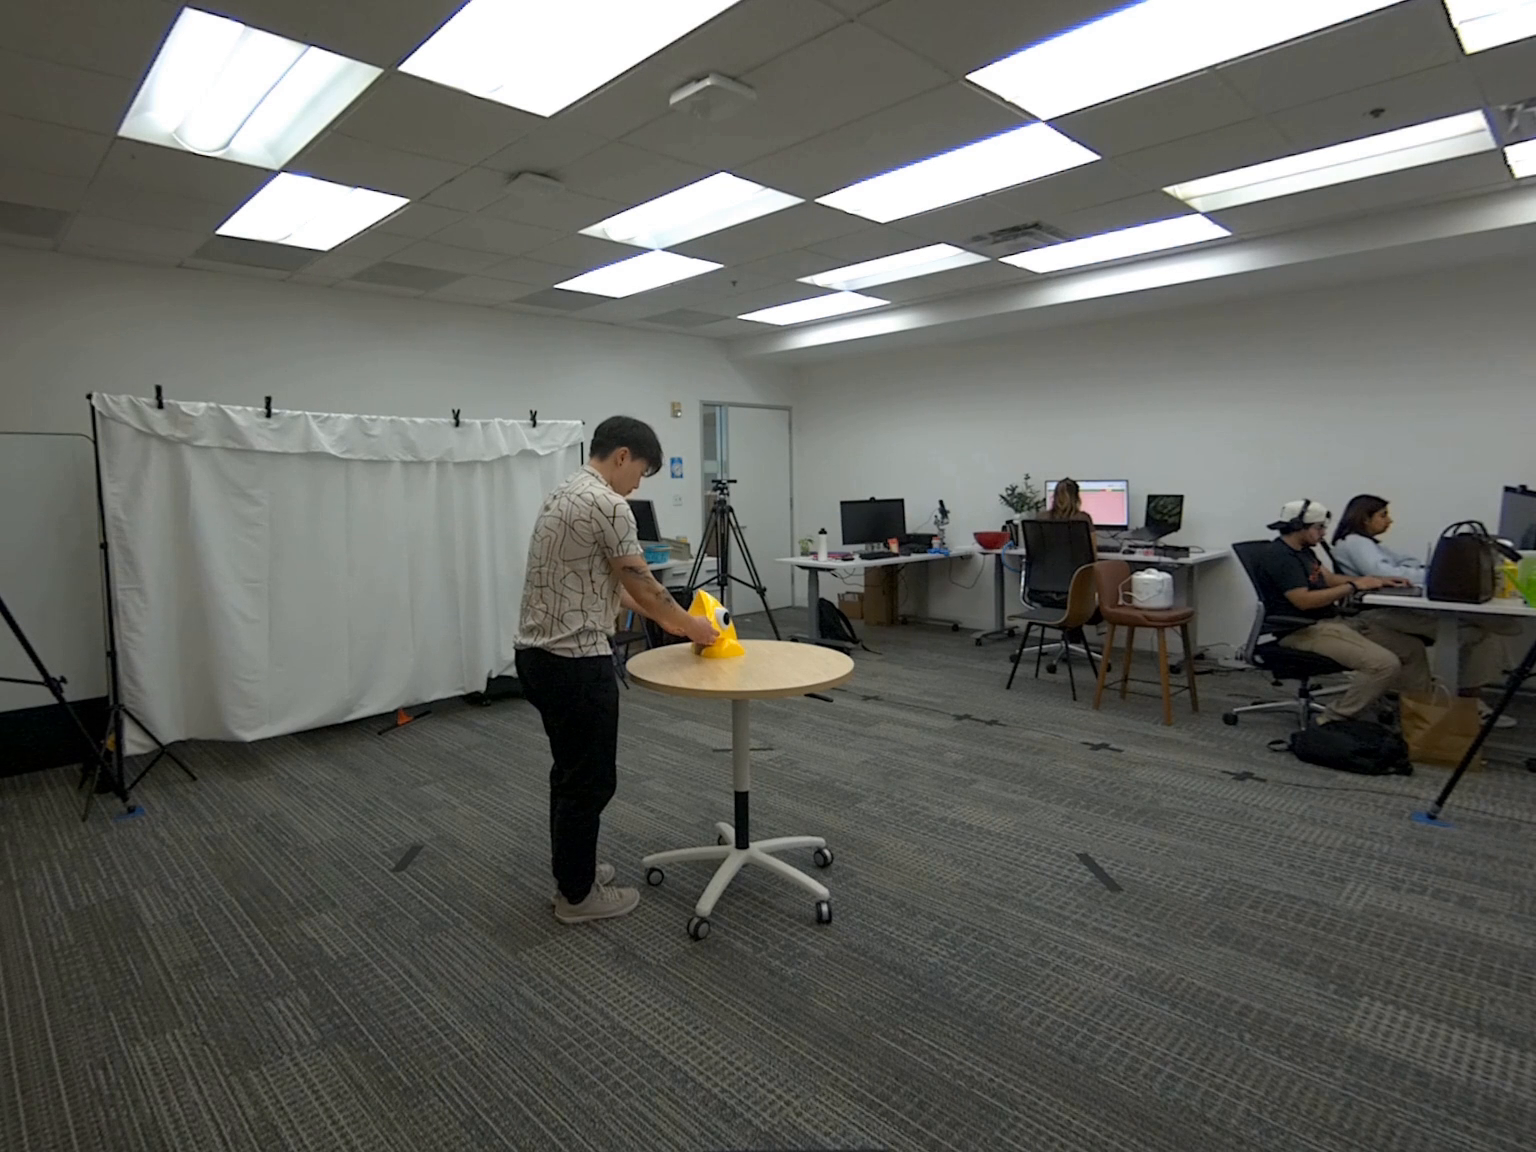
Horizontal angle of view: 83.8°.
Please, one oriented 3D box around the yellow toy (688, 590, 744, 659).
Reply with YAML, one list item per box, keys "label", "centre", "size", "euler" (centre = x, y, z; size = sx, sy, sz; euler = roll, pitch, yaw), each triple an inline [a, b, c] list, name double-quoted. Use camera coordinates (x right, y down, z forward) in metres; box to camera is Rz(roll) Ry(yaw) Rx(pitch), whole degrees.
- label: "yellow toy"
  centre: [-0.185, 0.161, 3.034]
  size: [0.188, 0.230, 0.211]
  euler: [-3, 6, -31]
